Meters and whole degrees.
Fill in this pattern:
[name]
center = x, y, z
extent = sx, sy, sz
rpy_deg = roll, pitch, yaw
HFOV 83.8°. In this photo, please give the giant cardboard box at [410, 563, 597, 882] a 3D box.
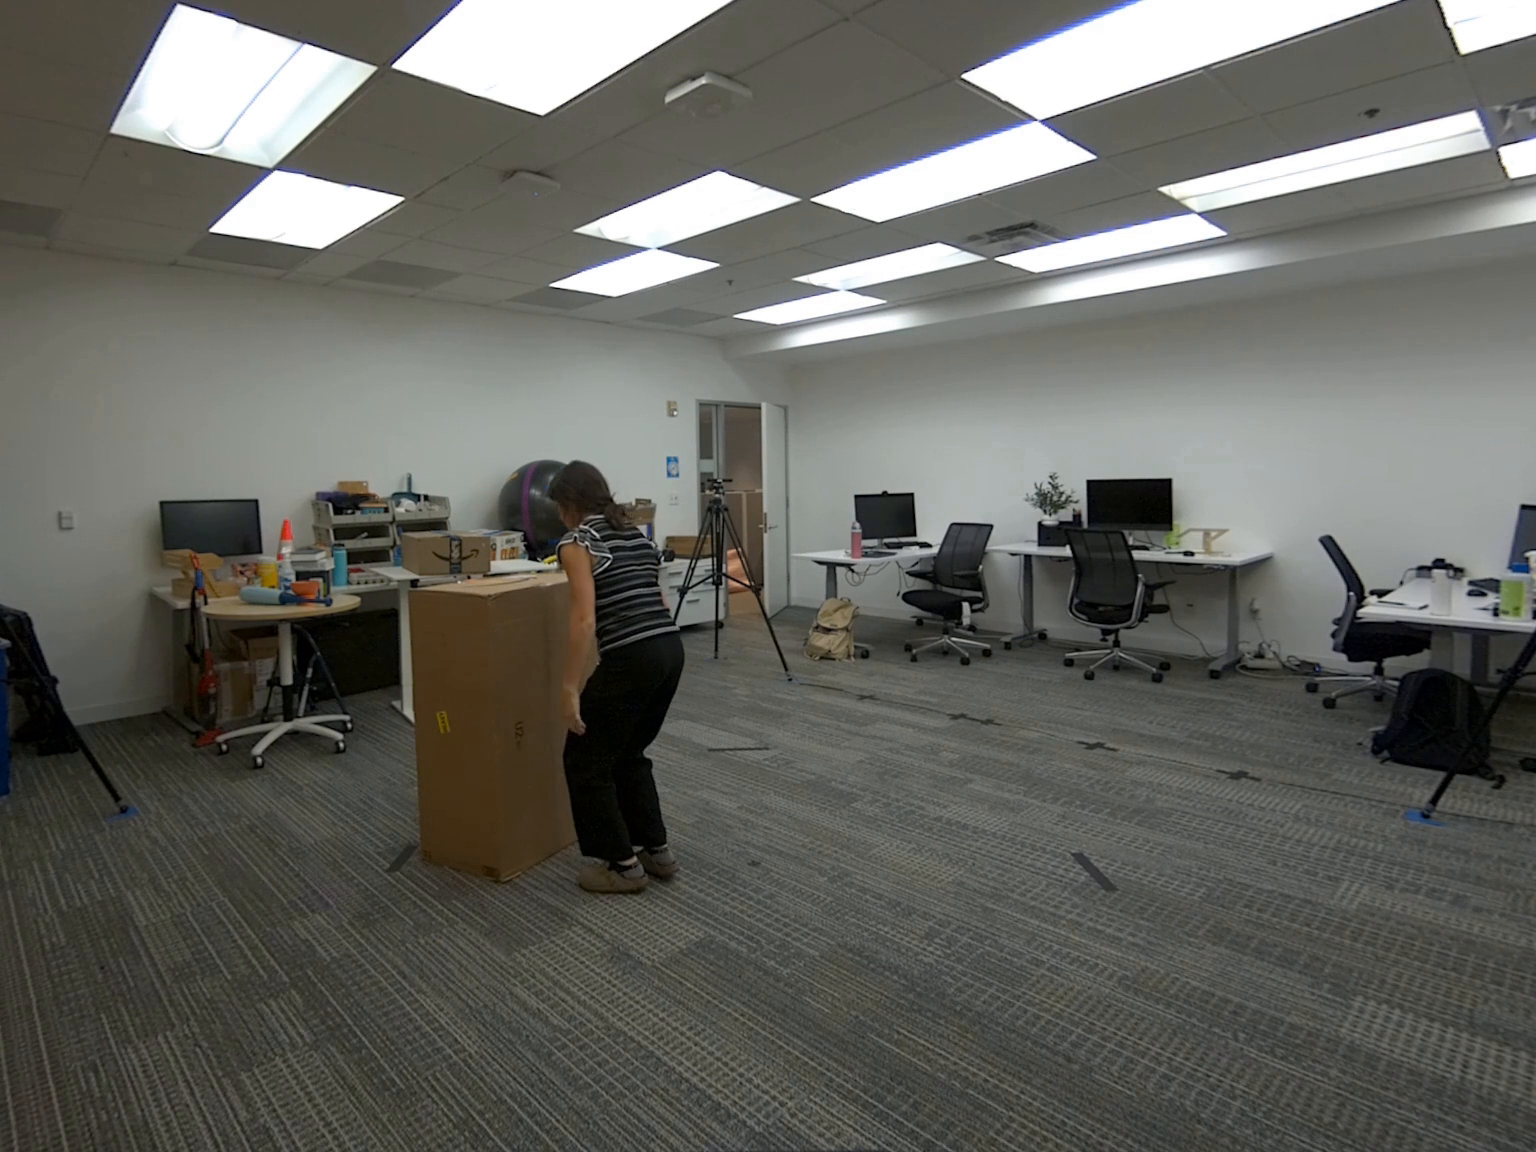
[giant cardboard box]
center = -0.998, 0.530, 3.310
extent = 0.437, 1.022, 0.565
rpy_deg = 1, 5, 29
